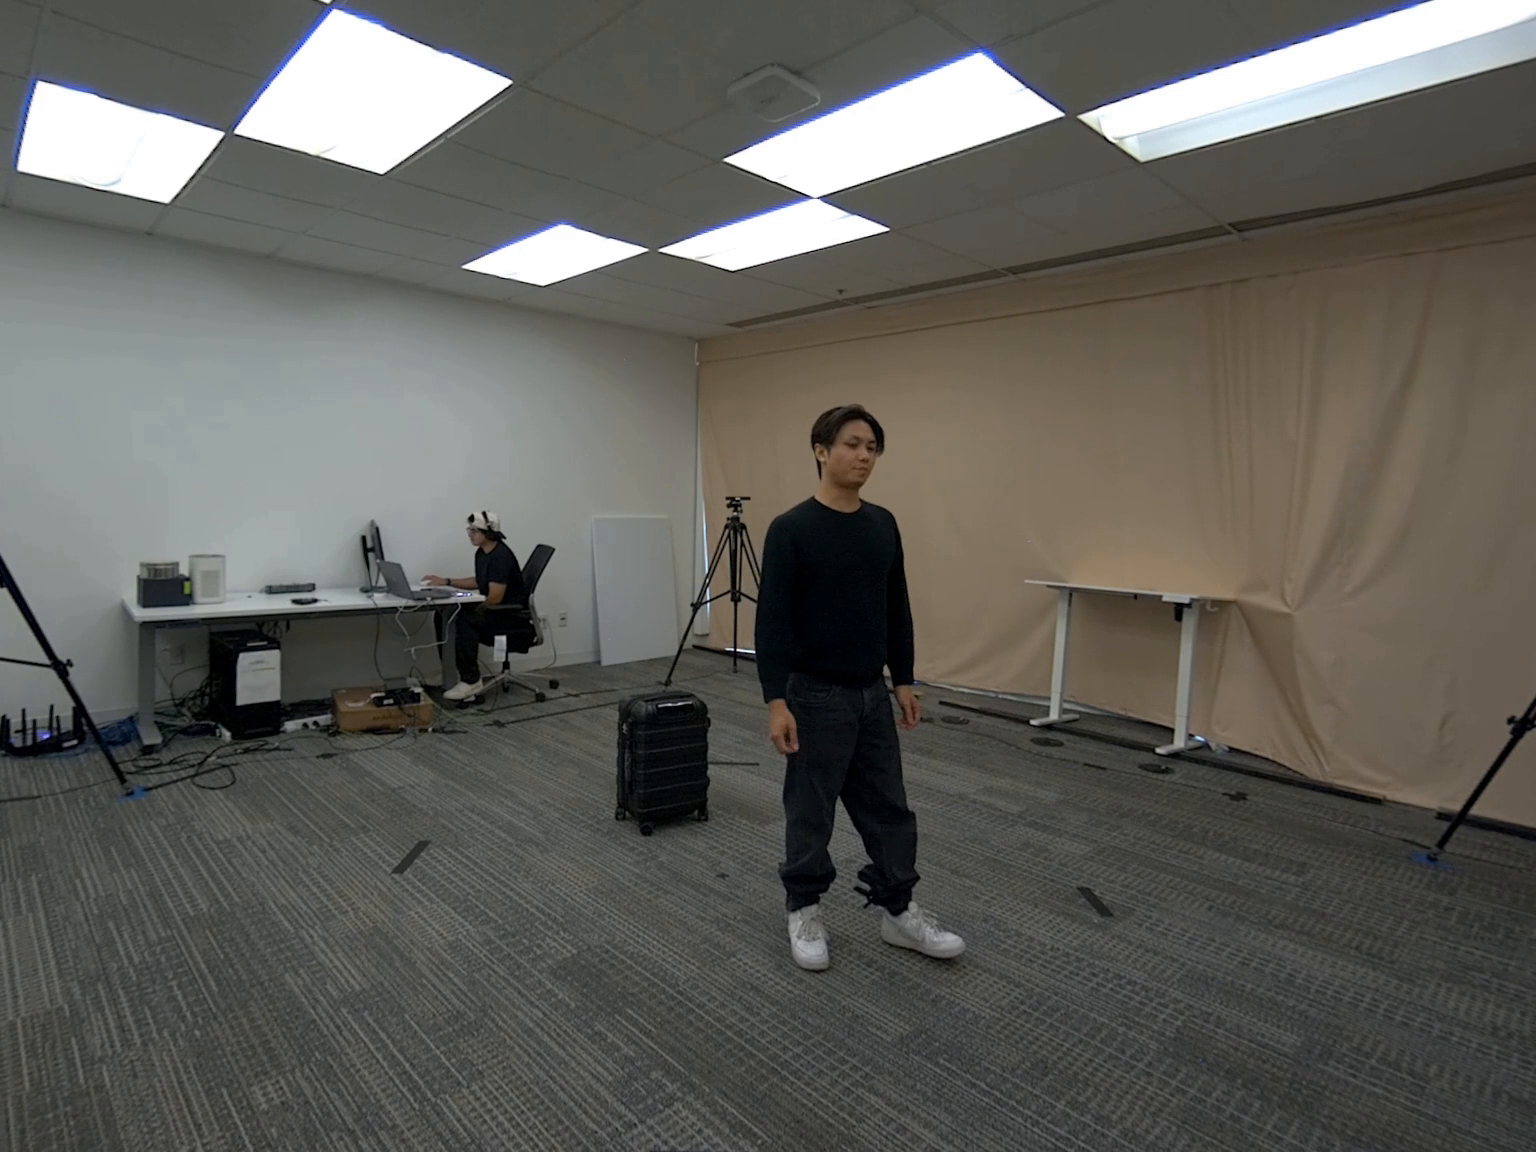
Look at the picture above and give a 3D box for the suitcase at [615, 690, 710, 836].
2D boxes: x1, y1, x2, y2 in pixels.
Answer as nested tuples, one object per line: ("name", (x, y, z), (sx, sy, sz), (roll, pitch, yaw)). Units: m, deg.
("suitcase", (-0.467, 0.777, 3.626), (0.367, 0.548, 0.254), (-1, 4, -33))
